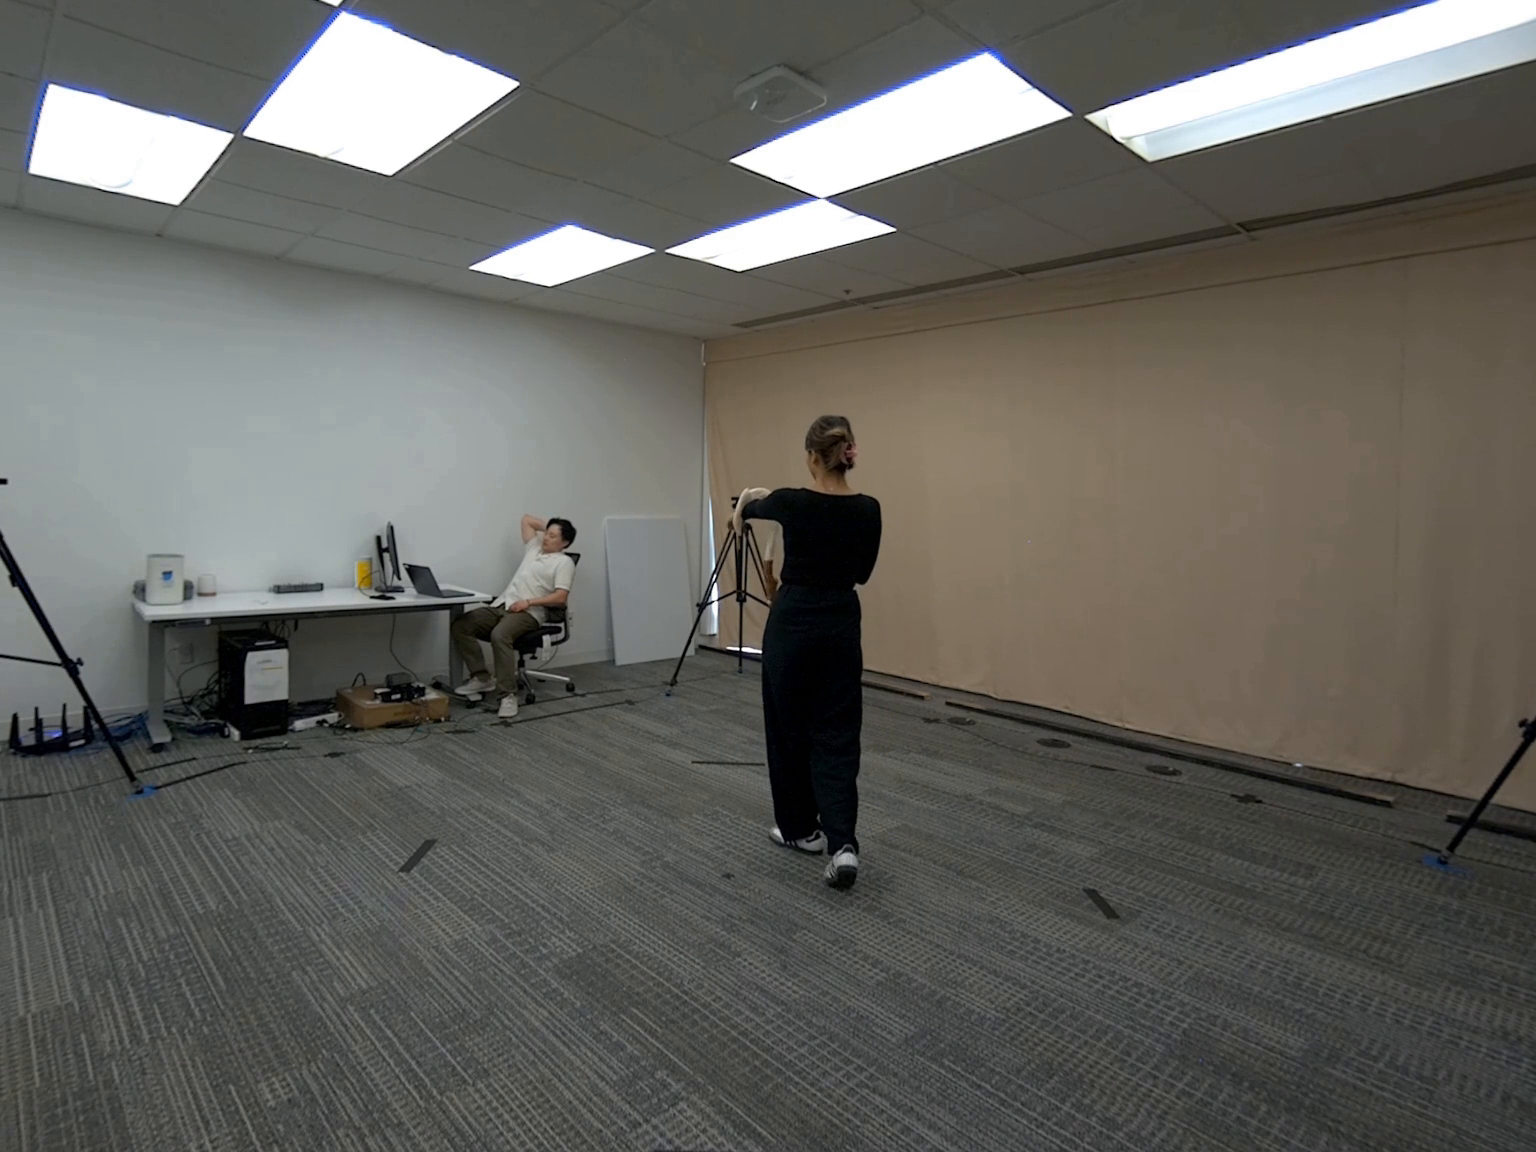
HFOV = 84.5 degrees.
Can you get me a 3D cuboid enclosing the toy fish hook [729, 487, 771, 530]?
[{"bbox_3d":[-0.054,-0.109,3.553,0.221,0.506,0.049,-4,0,-25],"label":"toy fish hook"}]
